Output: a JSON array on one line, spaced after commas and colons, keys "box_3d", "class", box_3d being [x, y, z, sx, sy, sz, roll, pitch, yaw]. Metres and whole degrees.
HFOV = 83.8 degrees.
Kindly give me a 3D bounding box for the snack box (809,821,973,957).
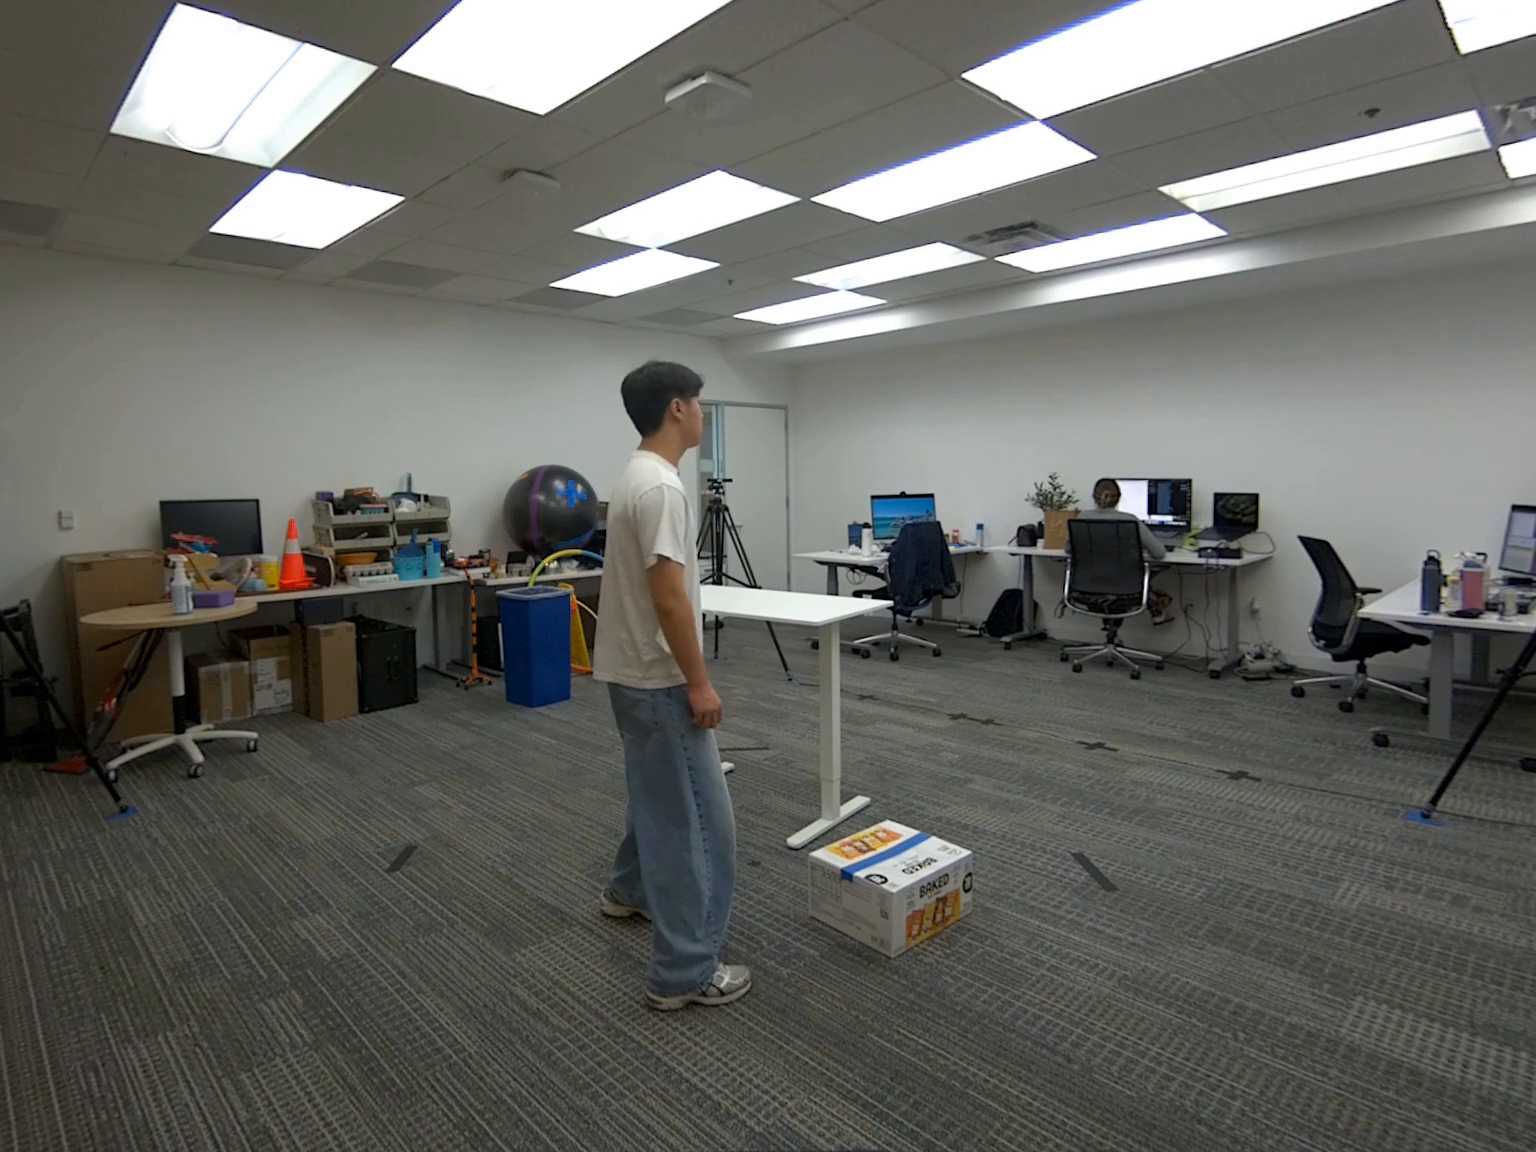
[{"box_3d": [0.395, 0.980, 2.719, 0.394, 0.205, 0.351, -6, 8, -42], "class": "snack box"}]
